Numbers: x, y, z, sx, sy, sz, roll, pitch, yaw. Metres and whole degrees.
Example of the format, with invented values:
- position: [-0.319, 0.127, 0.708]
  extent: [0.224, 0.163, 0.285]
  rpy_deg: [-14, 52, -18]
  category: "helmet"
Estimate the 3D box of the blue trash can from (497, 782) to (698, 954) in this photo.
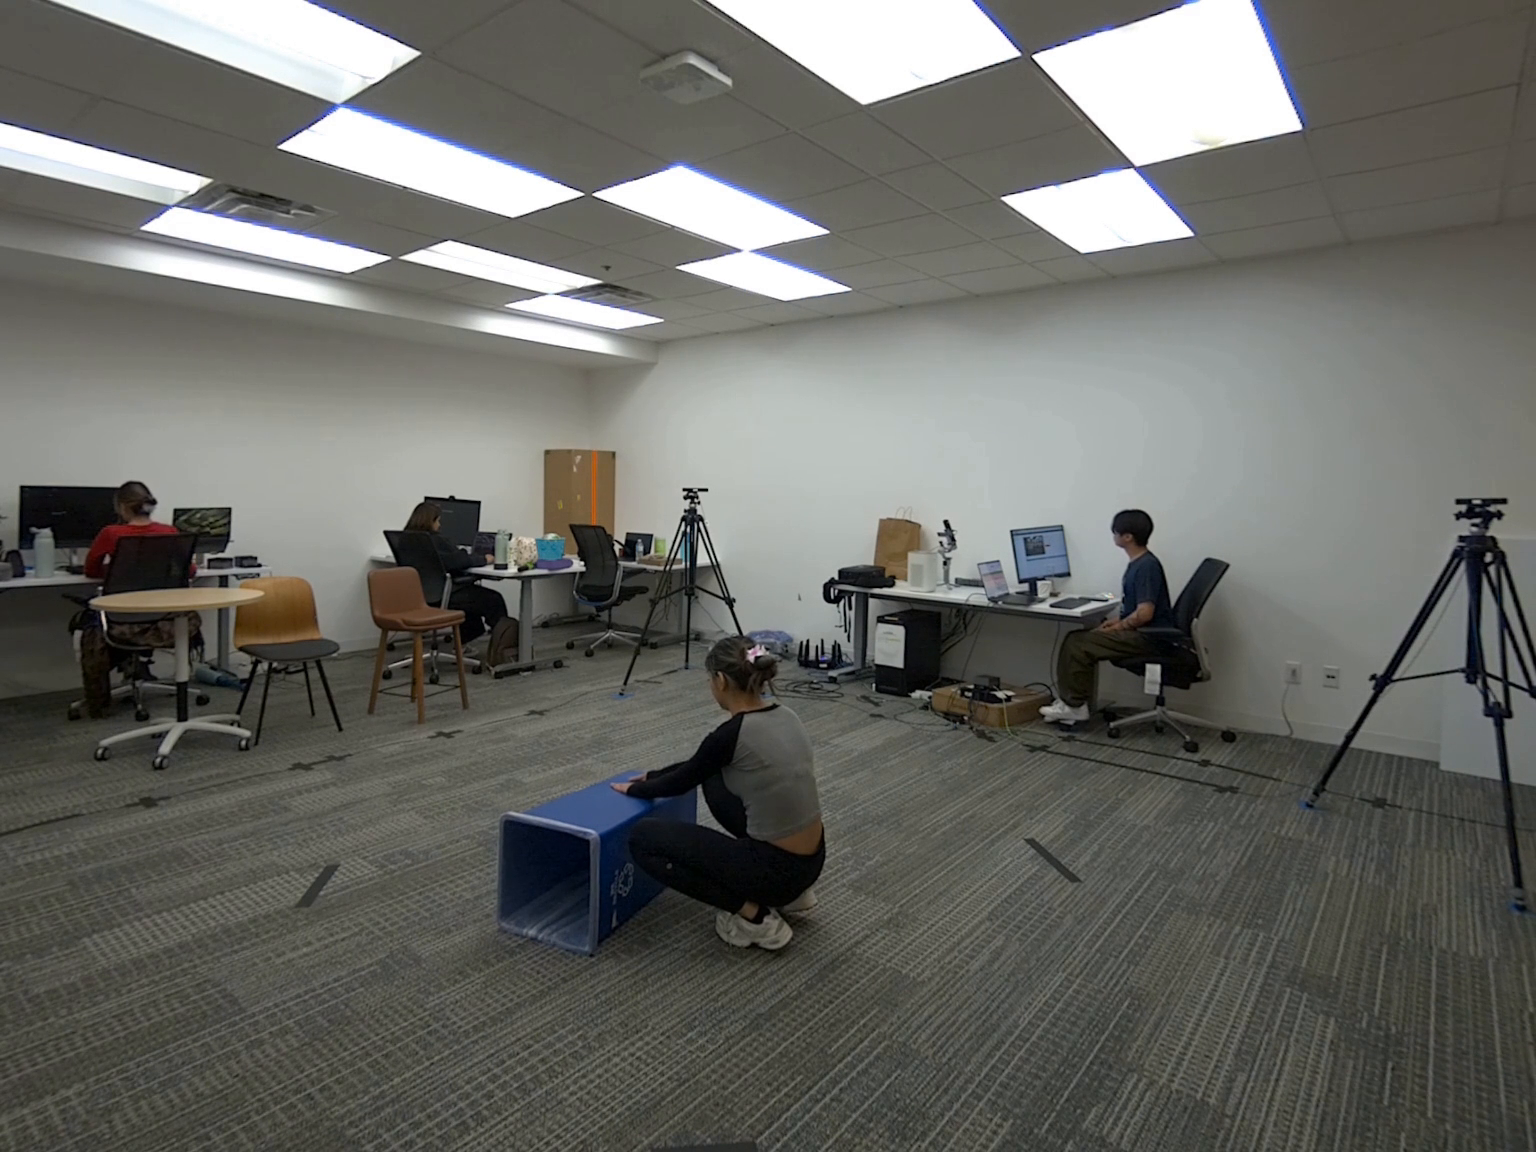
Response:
- position: [-0.548, 0.916, 2.899]
  extent: [0.384, 0.377, 0.696]
  rpy_deg: [2, 3, 25]
  category: "blue trash can"
